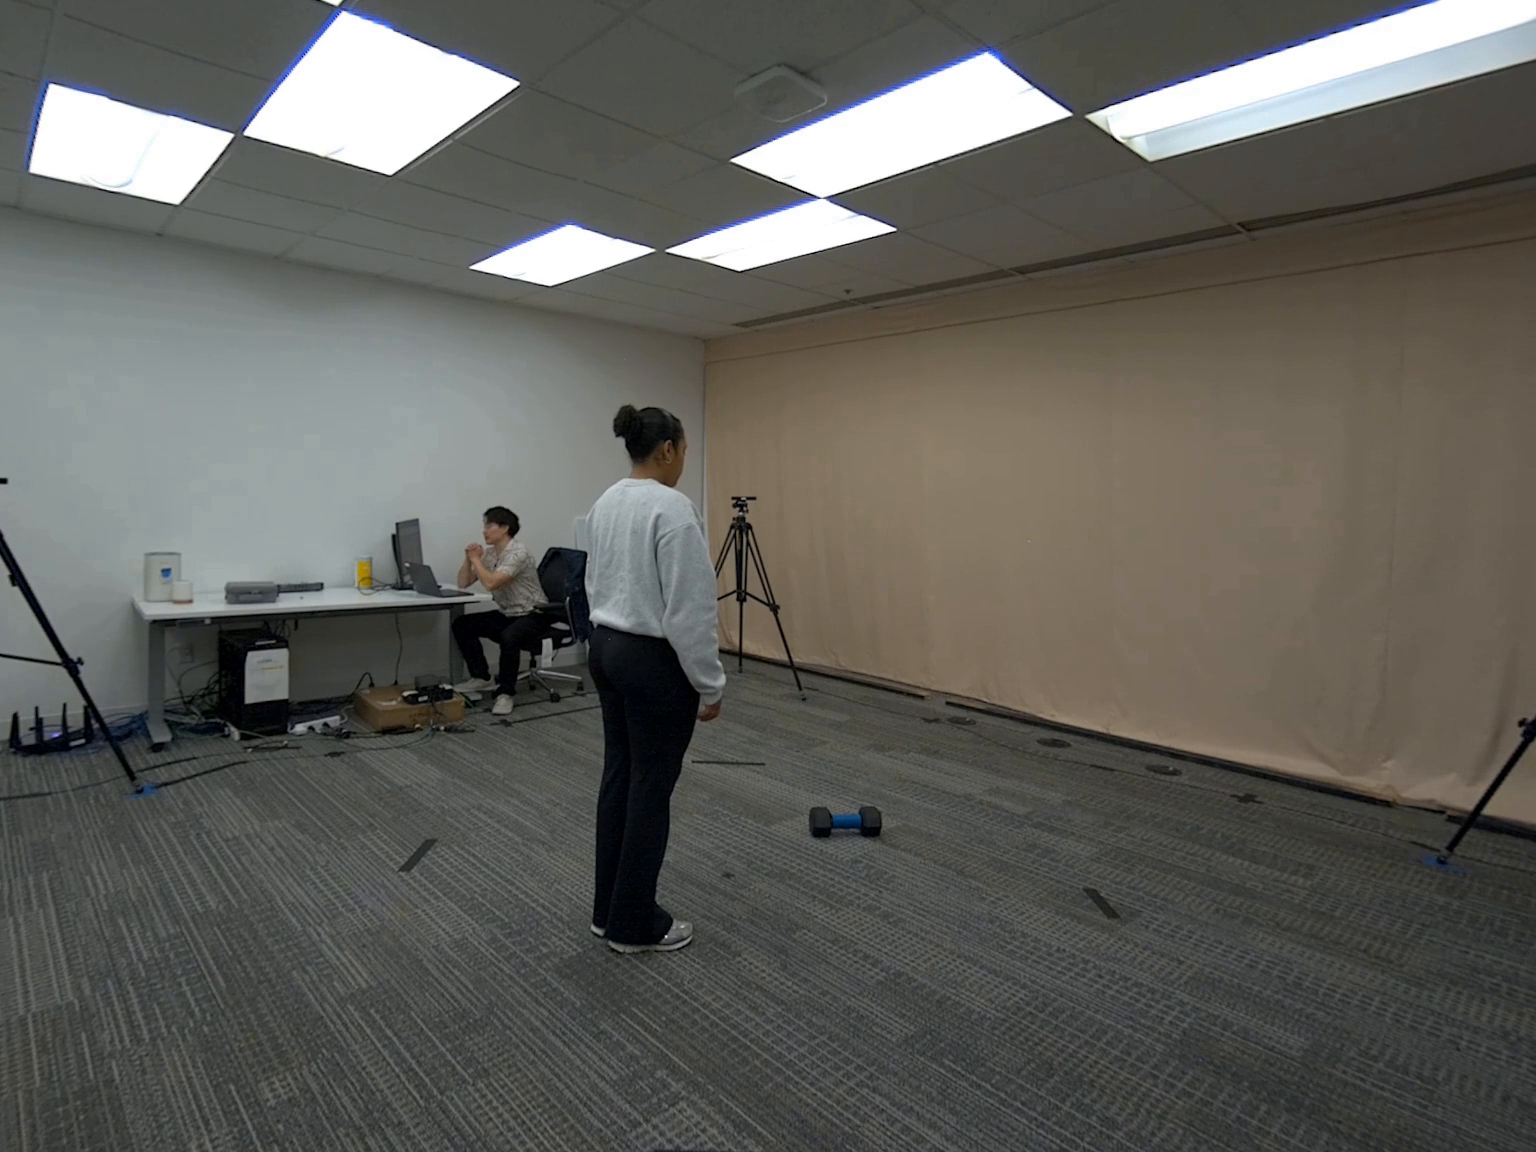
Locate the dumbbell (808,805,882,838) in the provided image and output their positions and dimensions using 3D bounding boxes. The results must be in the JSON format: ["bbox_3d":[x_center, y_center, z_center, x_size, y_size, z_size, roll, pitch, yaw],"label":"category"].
[{"bbox_3d":[0.314,1.028,3.518,0.292,0.125,0.107,1,-25,-6],"label":"dumbbell"}]
